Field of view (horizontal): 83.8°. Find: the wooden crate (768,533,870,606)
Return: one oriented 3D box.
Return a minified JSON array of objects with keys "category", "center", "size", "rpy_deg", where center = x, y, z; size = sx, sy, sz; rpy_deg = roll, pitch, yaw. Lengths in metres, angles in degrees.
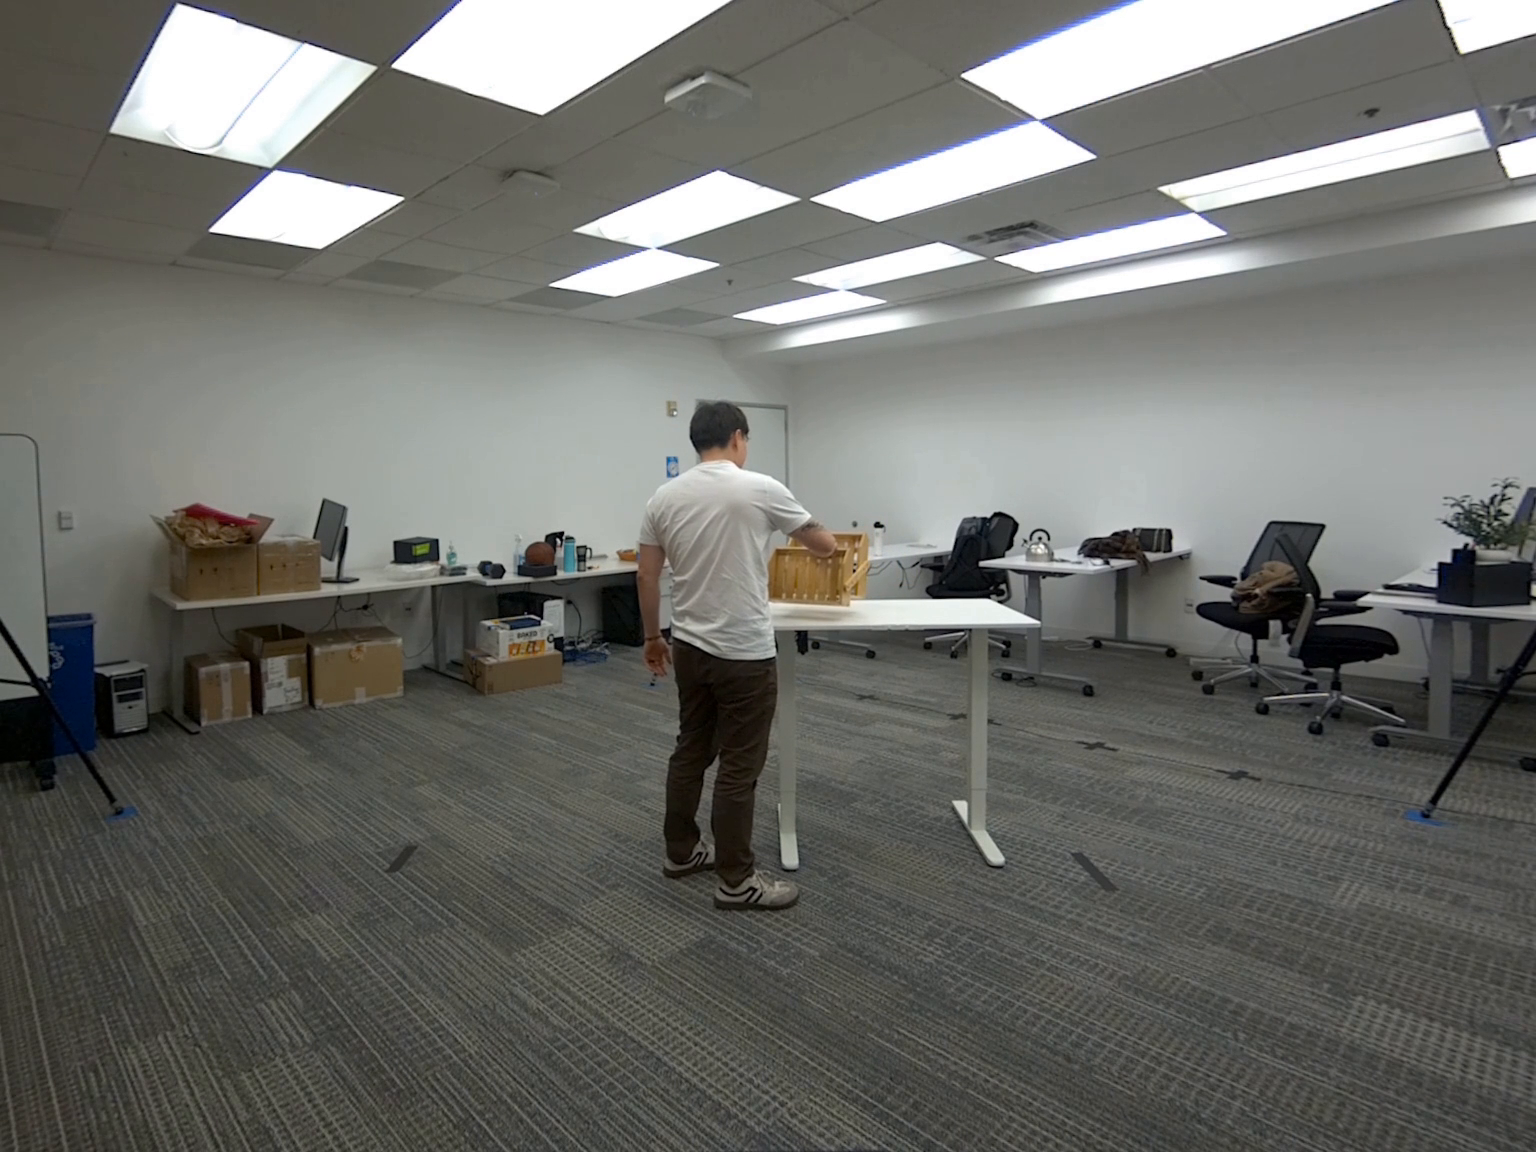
[{"category":"wooden crate","center":[0.194,-0.035,3.230],"size":[0.332,0.304,0.265],"rpy_deg":[1,-10,25]}]
